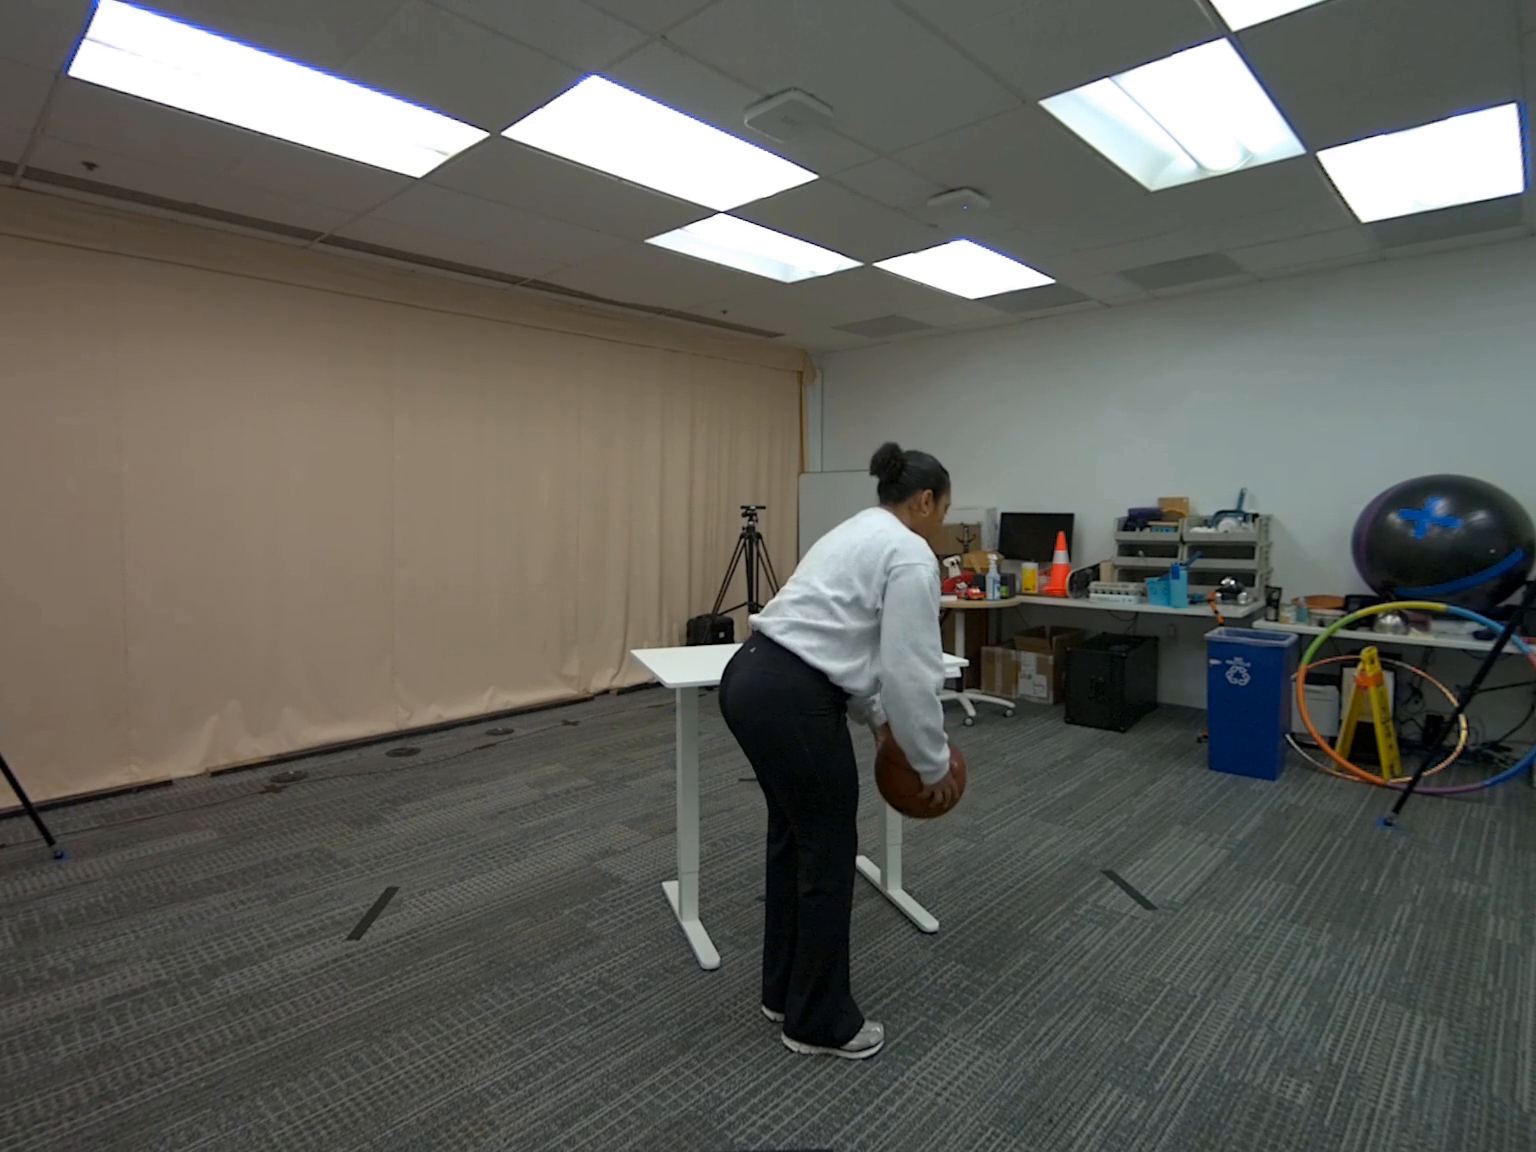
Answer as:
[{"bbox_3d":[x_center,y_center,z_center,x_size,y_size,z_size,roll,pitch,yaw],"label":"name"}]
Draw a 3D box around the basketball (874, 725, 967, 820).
[{"bbox_3d":[0.401,0.527,2.233,0.236,0.235,0.237,0,4,-2],"label":"basketball"}]
